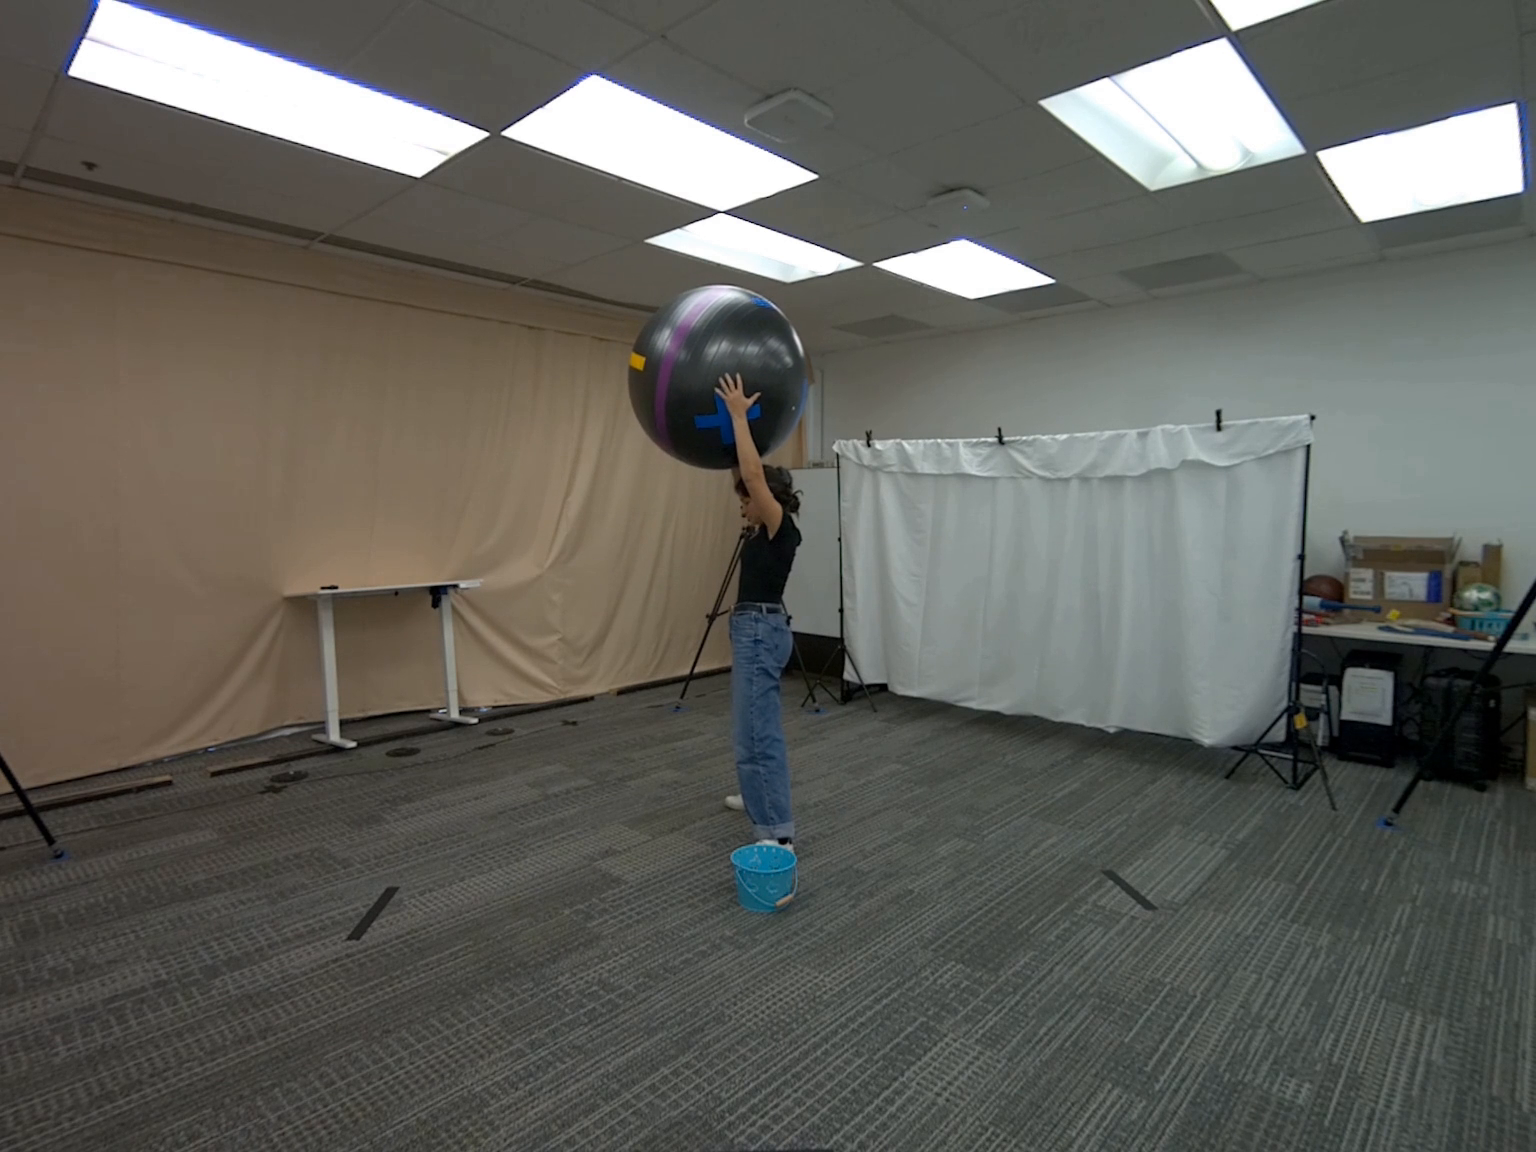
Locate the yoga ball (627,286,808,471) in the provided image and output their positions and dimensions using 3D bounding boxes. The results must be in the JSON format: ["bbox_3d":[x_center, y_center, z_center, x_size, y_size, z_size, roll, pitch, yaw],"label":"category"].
[{"bbox_3d":[-0.214,-0.817,3.546,0.757,0.756,0.760,0,4,-2],"label":"yoga ball"}]
